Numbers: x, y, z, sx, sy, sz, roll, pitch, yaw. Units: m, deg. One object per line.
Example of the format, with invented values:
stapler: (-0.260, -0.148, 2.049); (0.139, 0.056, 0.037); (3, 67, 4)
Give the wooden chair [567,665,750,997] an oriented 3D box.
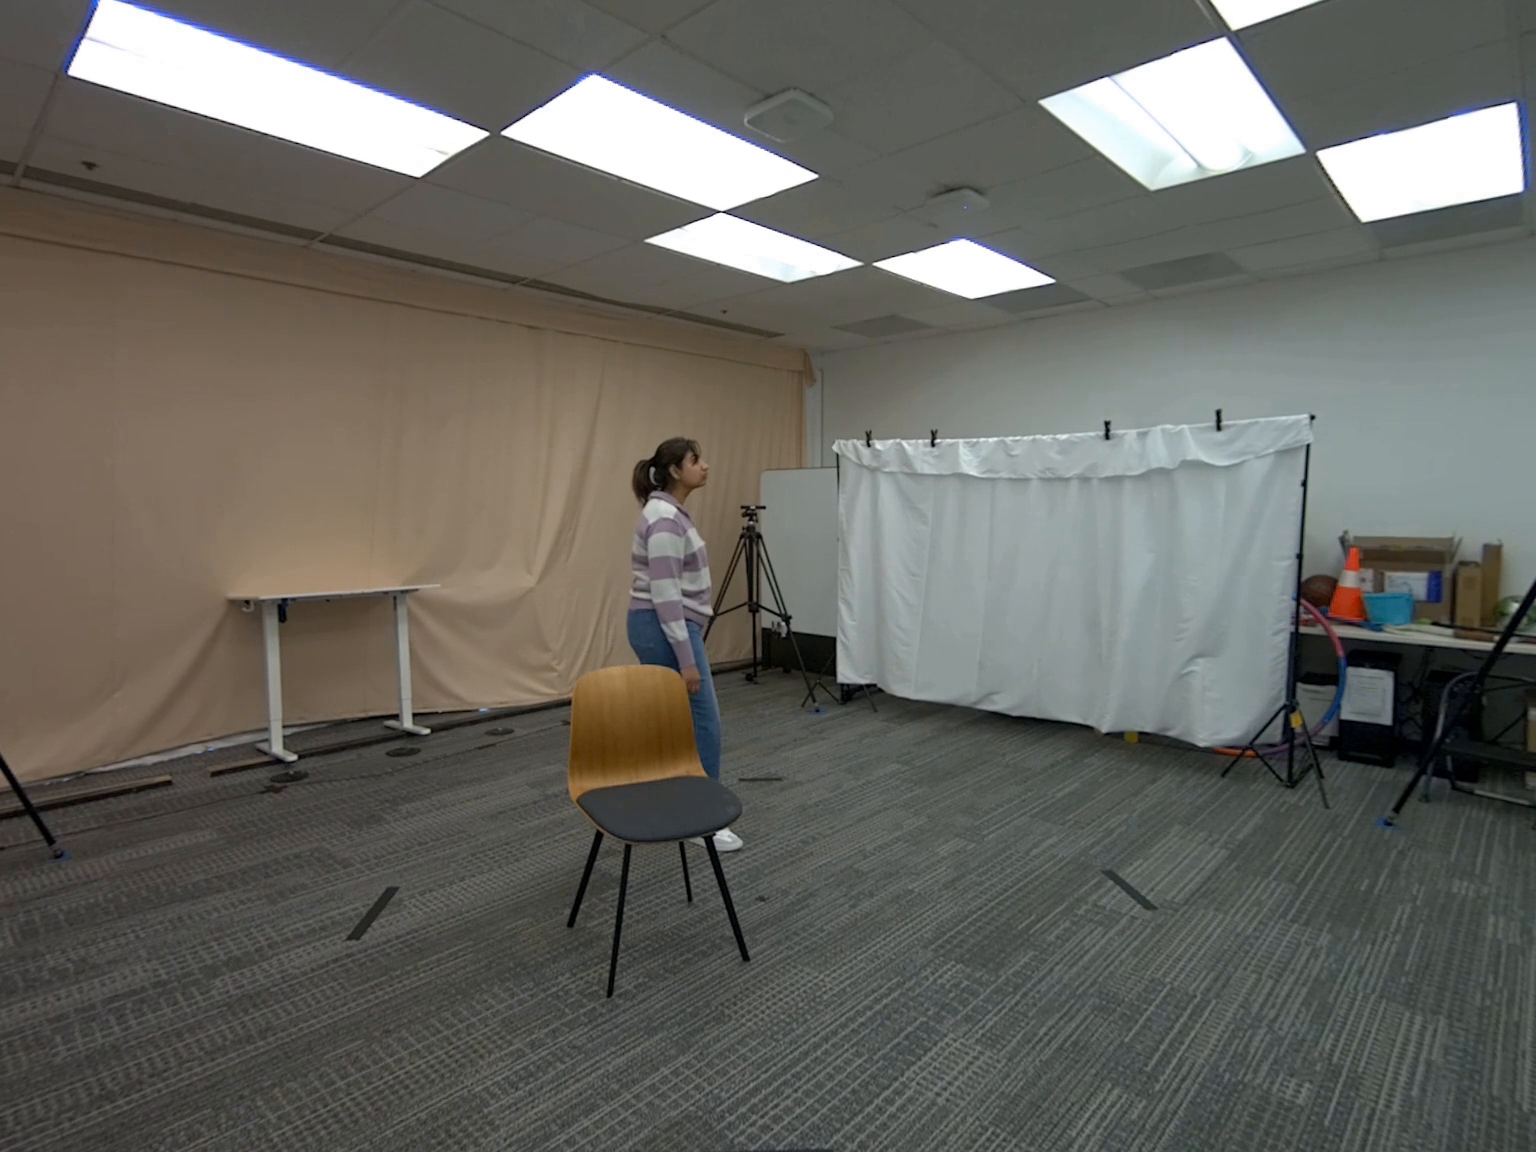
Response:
wooden chair: (-0.355, 0.743, 2.646); (0.466, 0.878, 0.536); (-2, -1, -27)
